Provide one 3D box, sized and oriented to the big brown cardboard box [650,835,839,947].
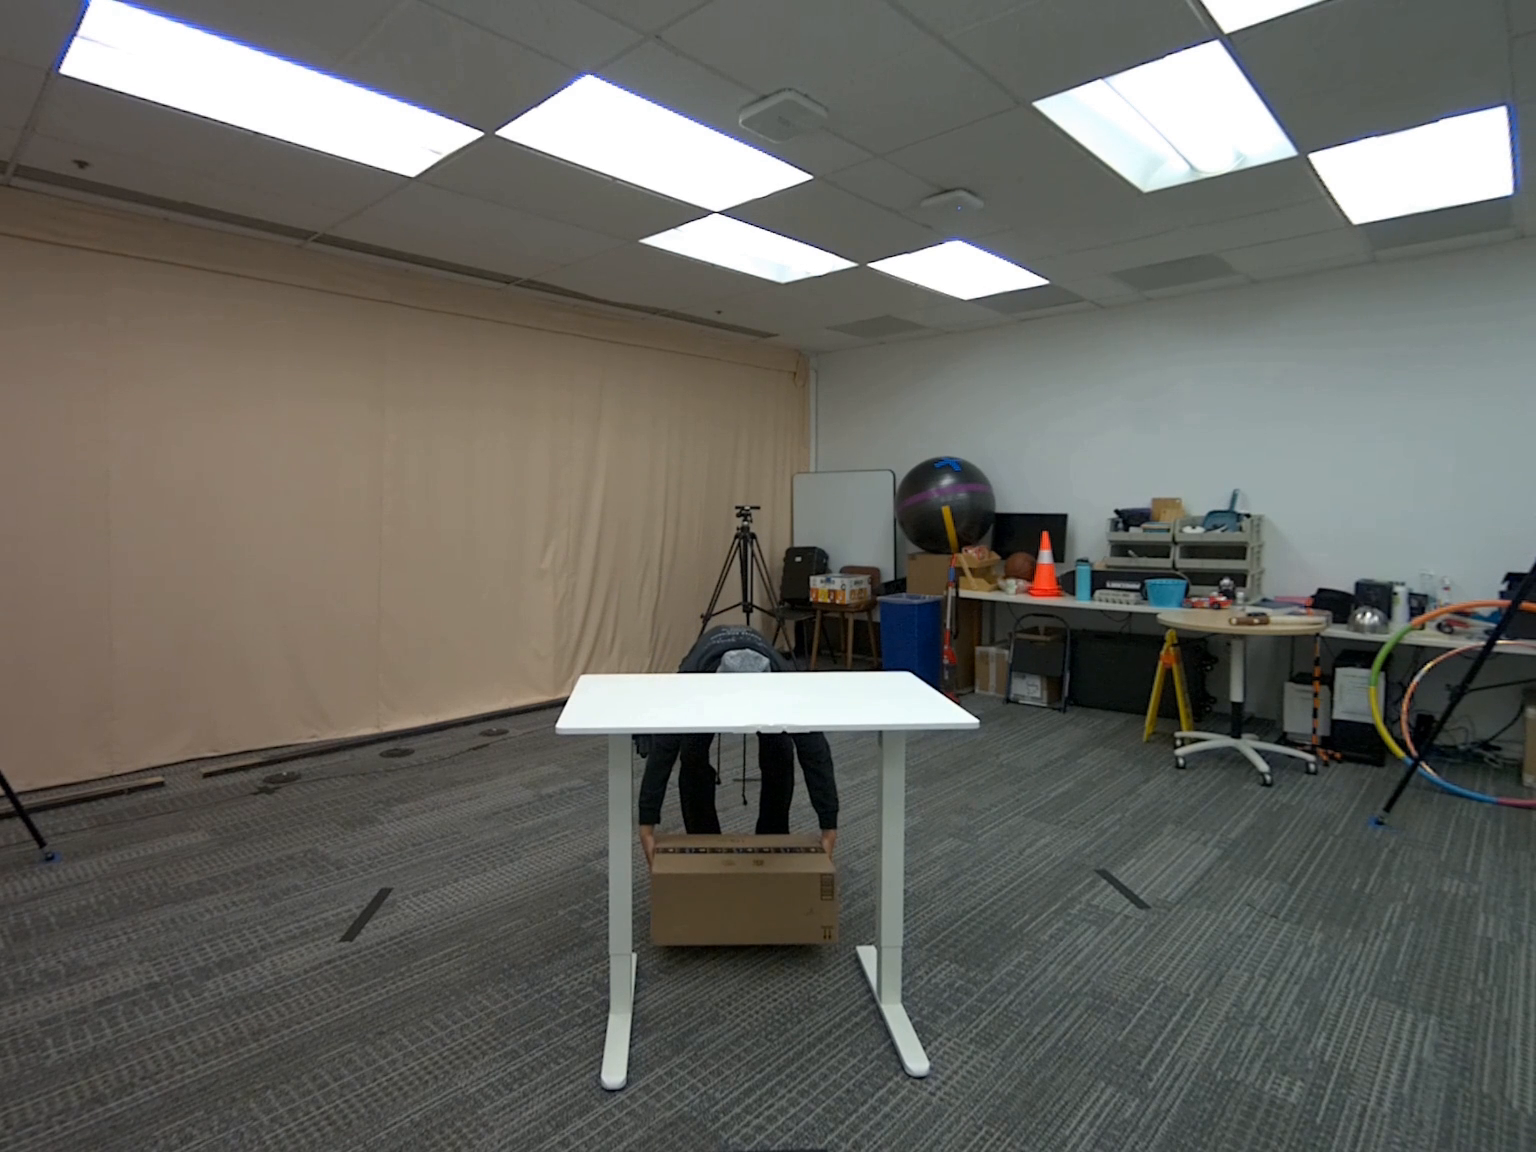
[{"bbox_3d":[-0.090,0.999,2.738,0.587,0.233,0.418,-1,-2,-3],"label":"big brown cardboard box"}]
